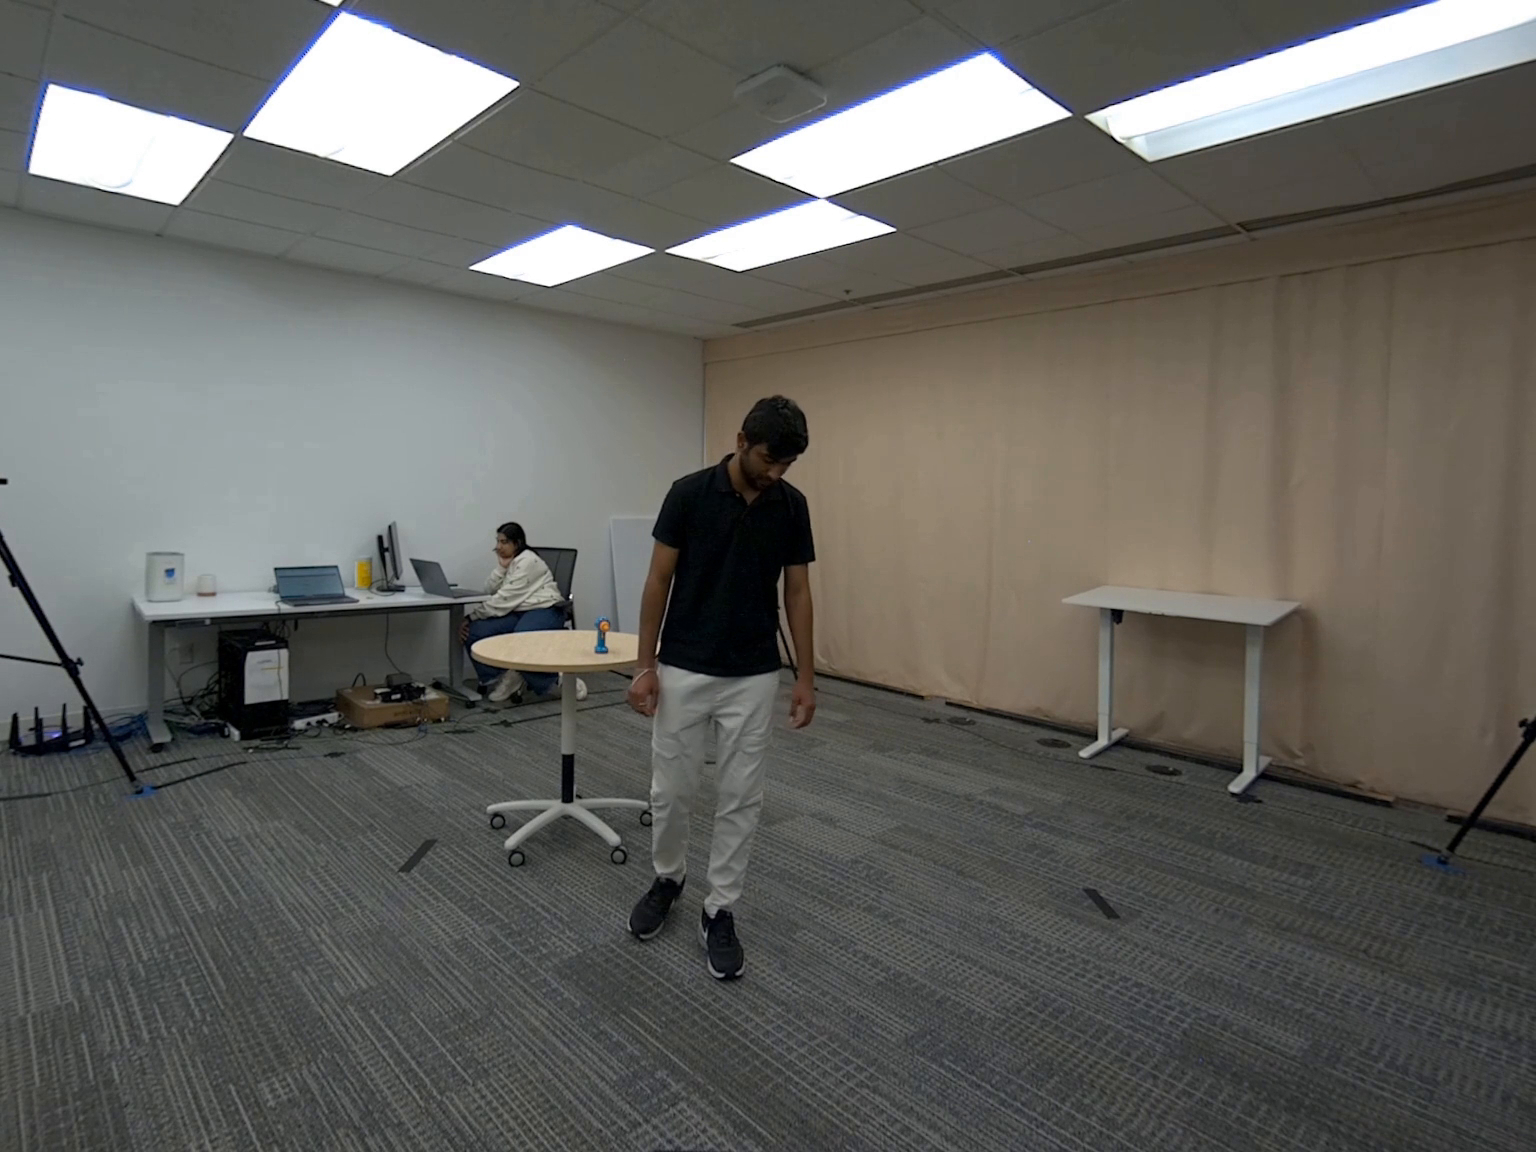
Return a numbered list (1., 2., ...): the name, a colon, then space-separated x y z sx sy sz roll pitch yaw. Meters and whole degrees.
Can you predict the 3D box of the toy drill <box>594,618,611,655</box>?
1. toy drill: -0.648 0.231 3.242 0.060 0.146 0.172 2 4 -18
